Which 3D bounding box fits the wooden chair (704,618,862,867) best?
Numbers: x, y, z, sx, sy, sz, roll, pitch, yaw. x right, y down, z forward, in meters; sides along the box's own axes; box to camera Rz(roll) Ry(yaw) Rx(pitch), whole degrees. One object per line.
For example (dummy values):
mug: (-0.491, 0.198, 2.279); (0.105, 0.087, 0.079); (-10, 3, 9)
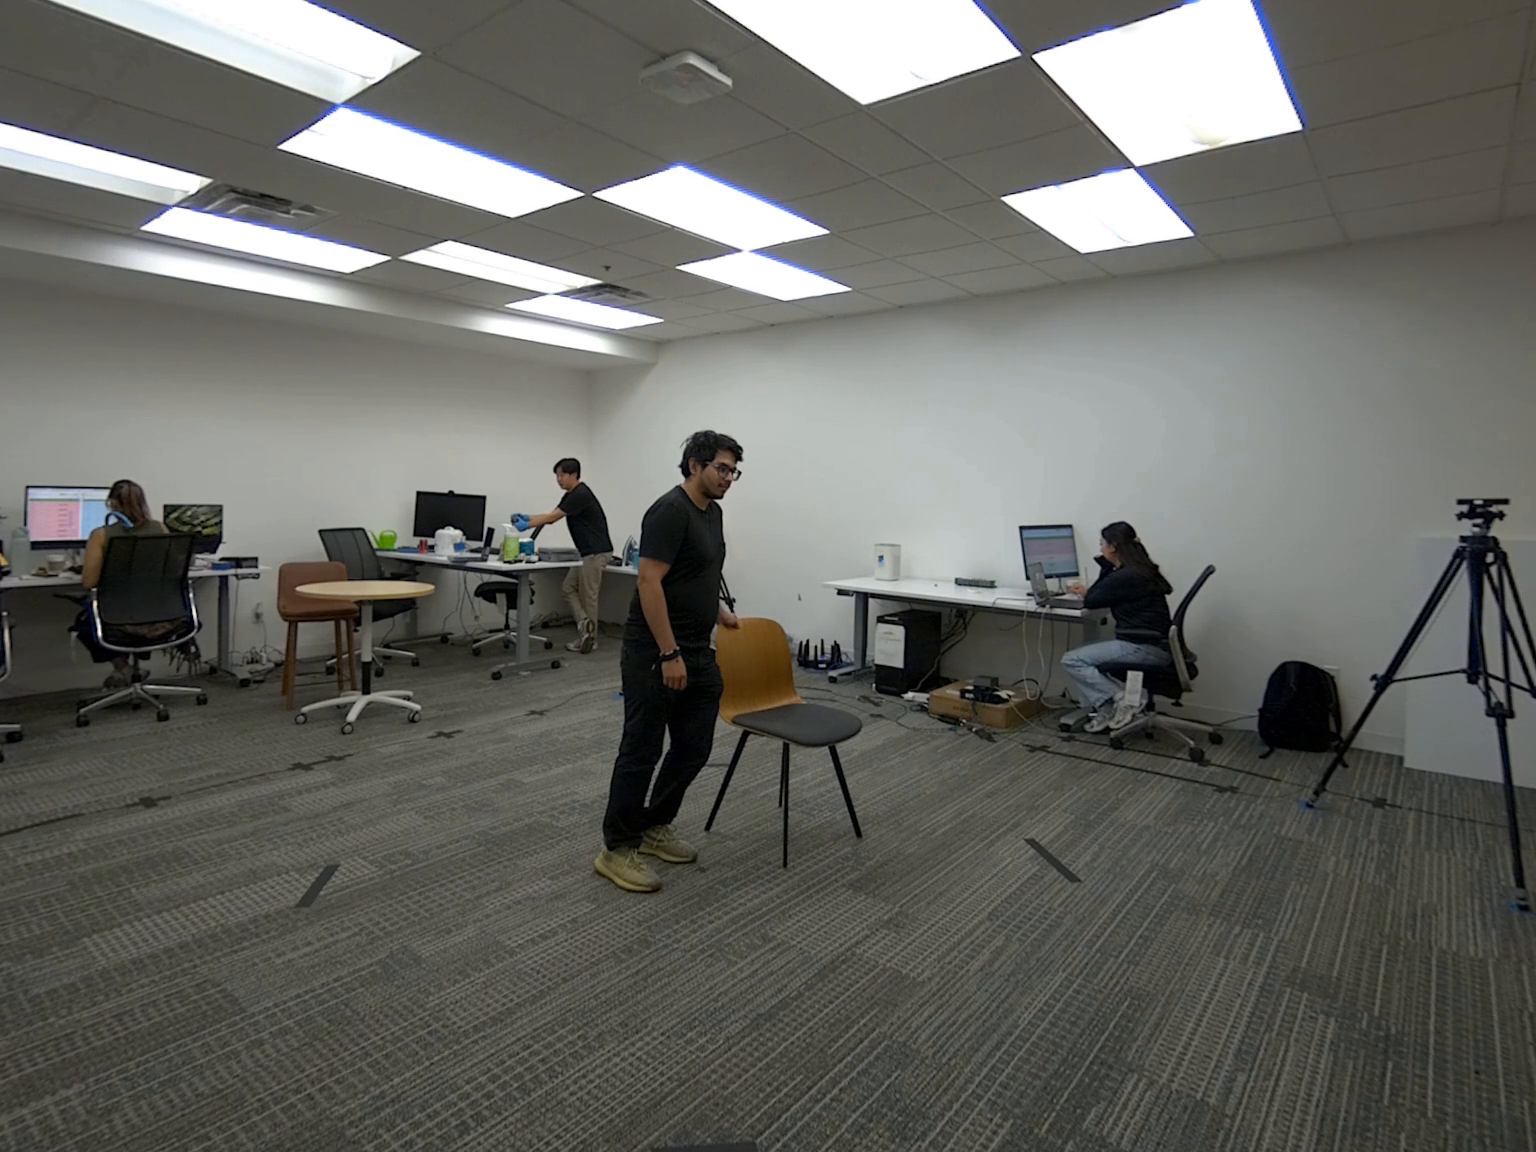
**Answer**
wooden chair: (0.071, 0.620, 3.417); (0.463, 0.877, 0.539); (-2, 0, -44)
